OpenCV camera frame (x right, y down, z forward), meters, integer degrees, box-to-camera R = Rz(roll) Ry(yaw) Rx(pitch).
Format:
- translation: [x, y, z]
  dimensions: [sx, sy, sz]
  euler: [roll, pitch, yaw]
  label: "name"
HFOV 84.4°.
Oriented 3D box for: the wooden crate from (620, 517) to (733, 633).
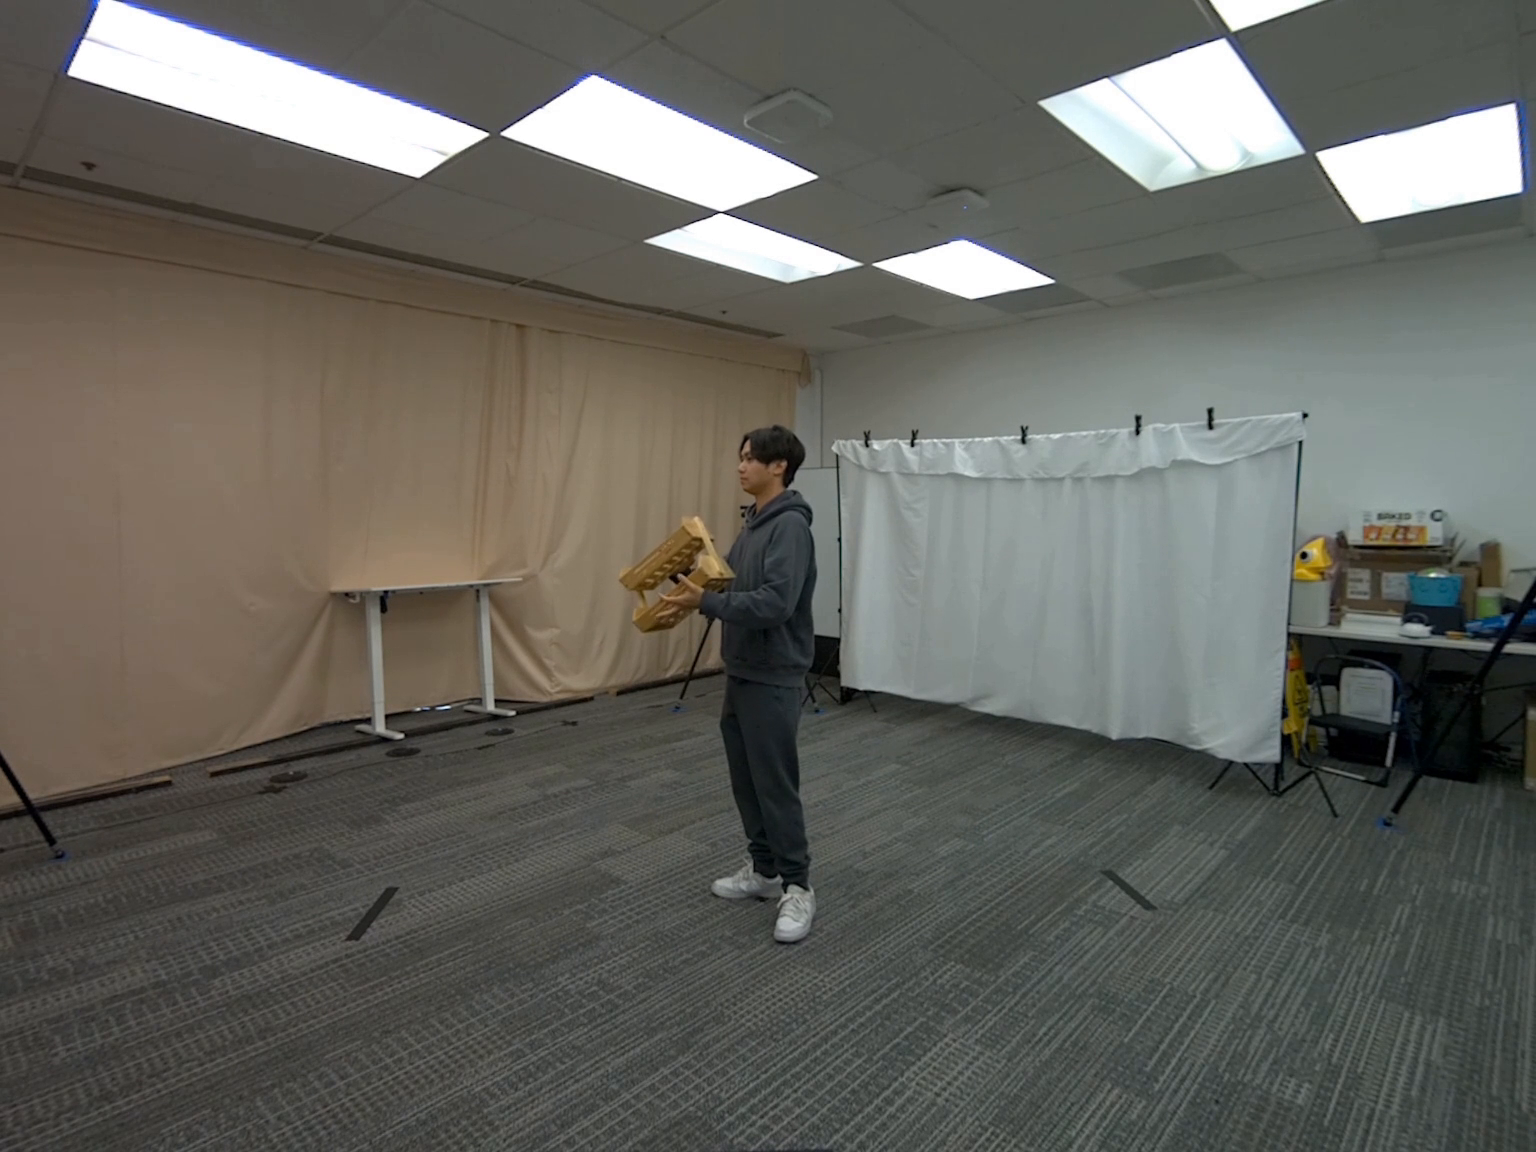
- translation: [-0.322, -0.008, 2.837]
  dimensions: [0.326, 0.277, 0.296]
  euler: [-39, -12, 15]
  label: "wooden crate"
